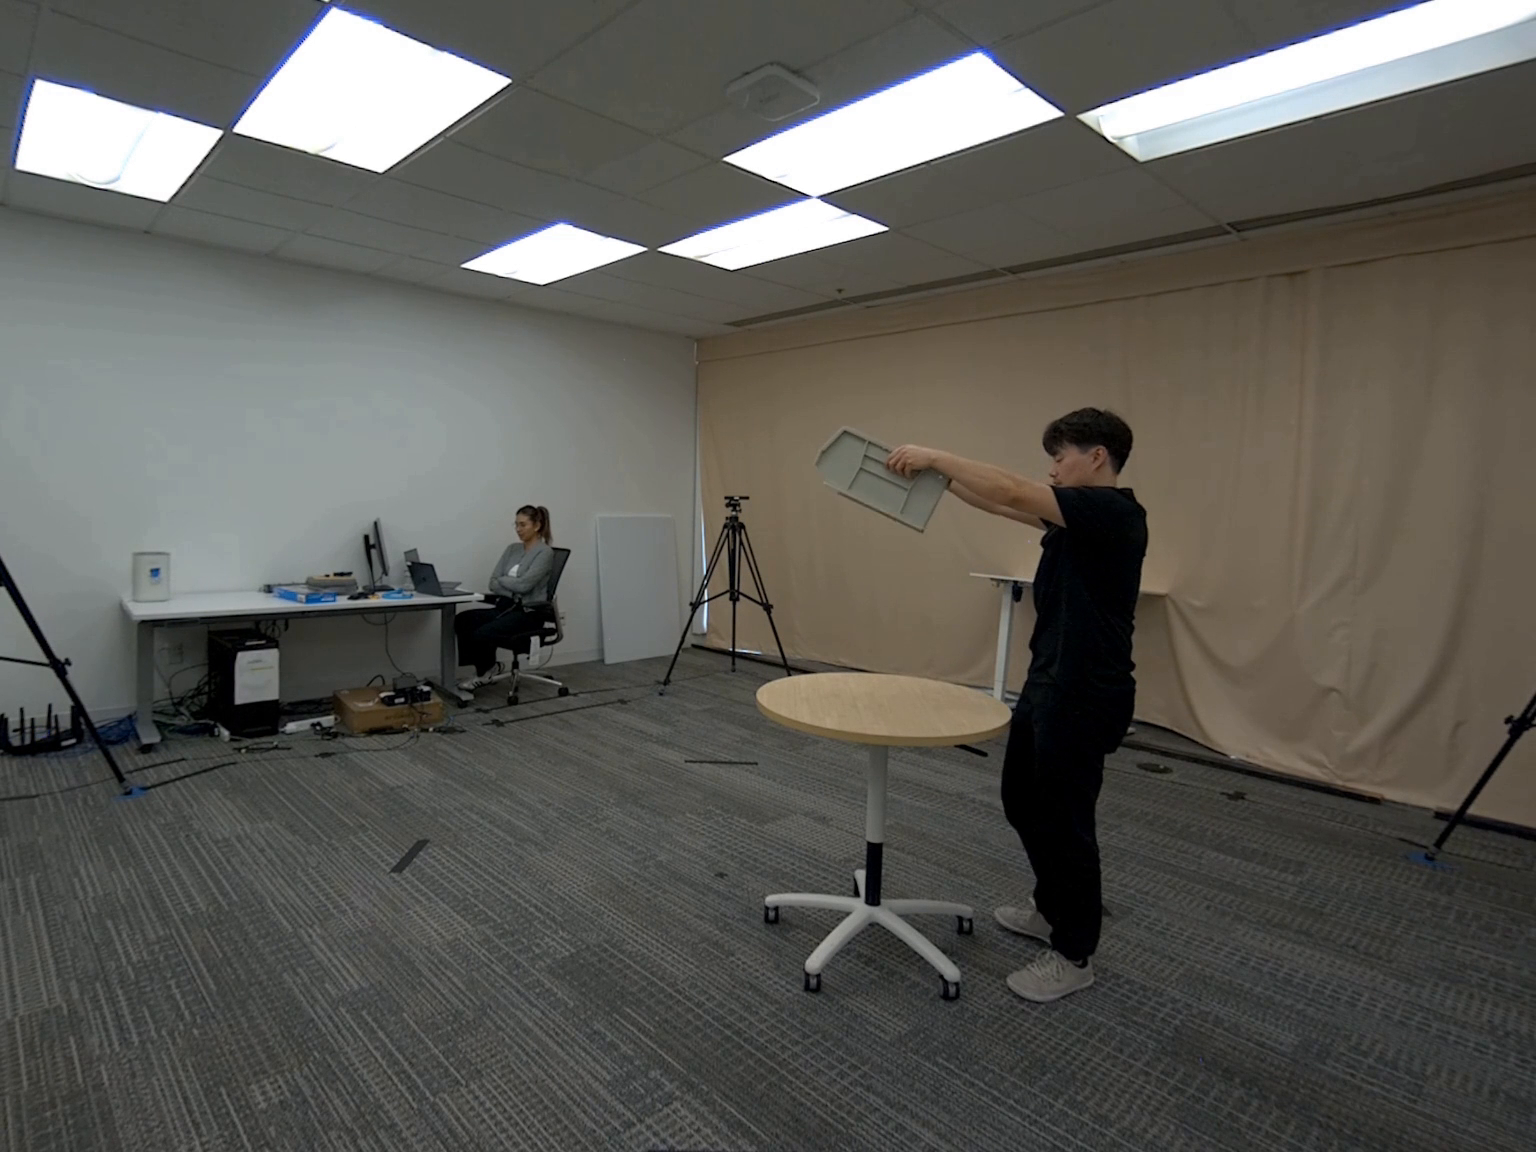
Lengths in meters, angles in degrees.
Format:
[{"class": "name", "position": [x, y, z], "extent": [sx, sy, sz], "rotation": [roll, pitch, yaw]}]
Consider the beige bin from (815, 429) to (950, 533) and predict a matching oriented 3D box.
[{"class": "beige bin", "position": [0.356, -0.282, 2.607], "extent": [0.382, 0.188, 0.418], "rotation": [27, 6, 11]}]
